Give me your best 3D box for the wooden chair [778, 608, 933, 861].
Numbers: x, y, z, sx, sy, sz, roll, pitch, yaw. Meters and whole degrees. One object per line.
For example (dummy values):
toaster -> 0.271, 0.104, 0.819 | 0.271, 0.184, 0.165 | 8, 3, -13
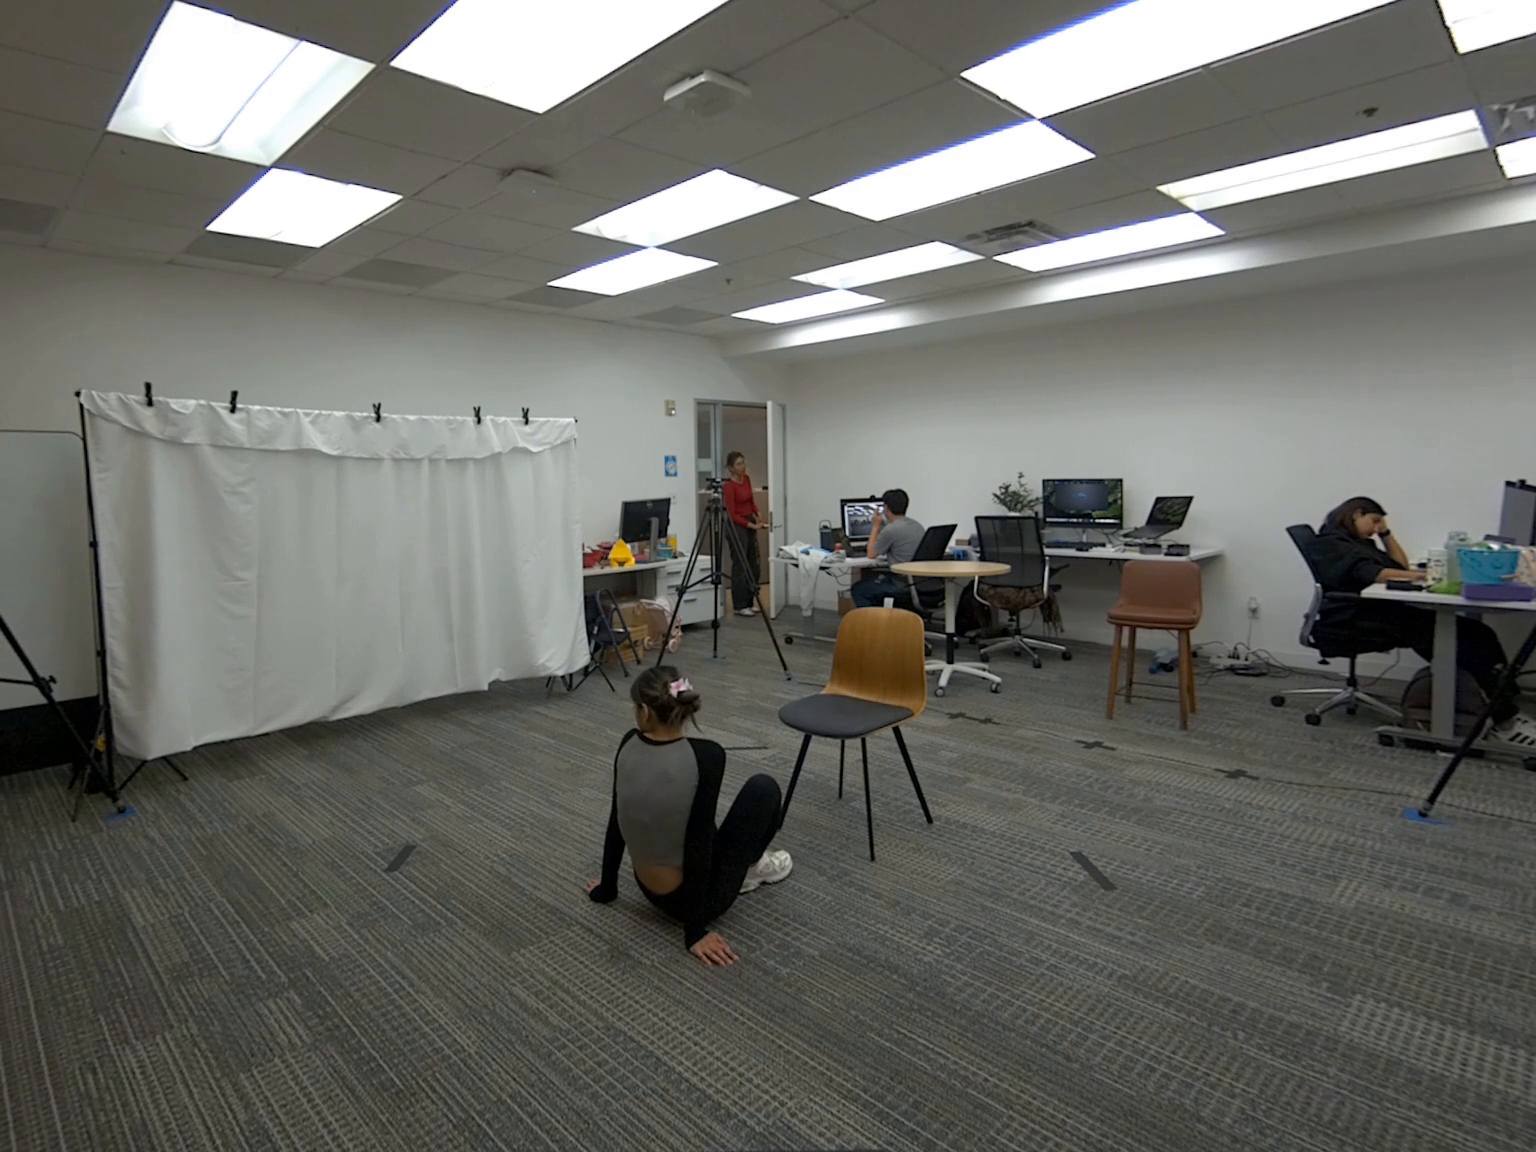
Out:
wooden chair -> 0.336, 0.576, 3.375 | 0.492, 0.877, 0.508 | 3, 1, 40
